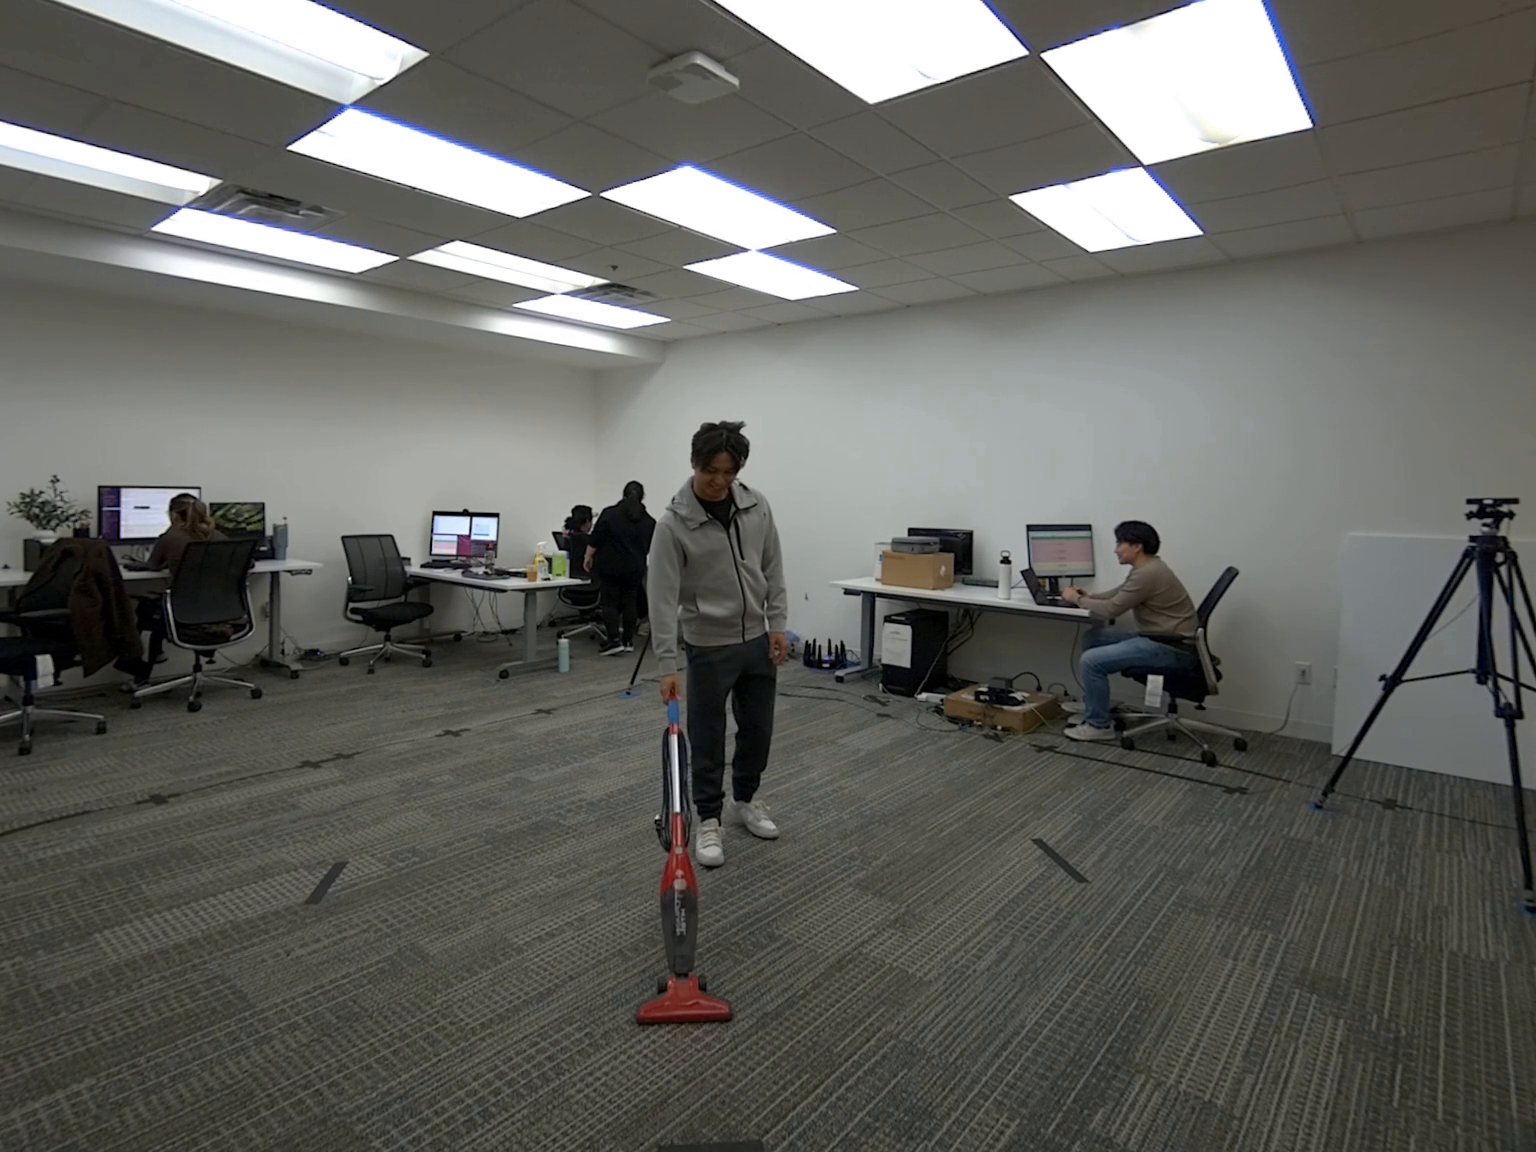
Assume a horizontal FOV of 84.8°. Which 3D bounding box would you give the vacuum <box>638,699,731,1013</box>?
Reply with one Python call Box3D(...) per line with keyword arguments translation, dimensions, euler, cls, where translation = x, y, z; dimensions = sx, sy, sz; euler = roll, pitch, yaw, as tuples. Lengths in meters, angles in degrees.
Box3D(translation=(-0.294, 0.767, 2.679), dimensions=(0.250, 0.141, 1.085), euler=(1, 42, -10), cls="vacuum")
